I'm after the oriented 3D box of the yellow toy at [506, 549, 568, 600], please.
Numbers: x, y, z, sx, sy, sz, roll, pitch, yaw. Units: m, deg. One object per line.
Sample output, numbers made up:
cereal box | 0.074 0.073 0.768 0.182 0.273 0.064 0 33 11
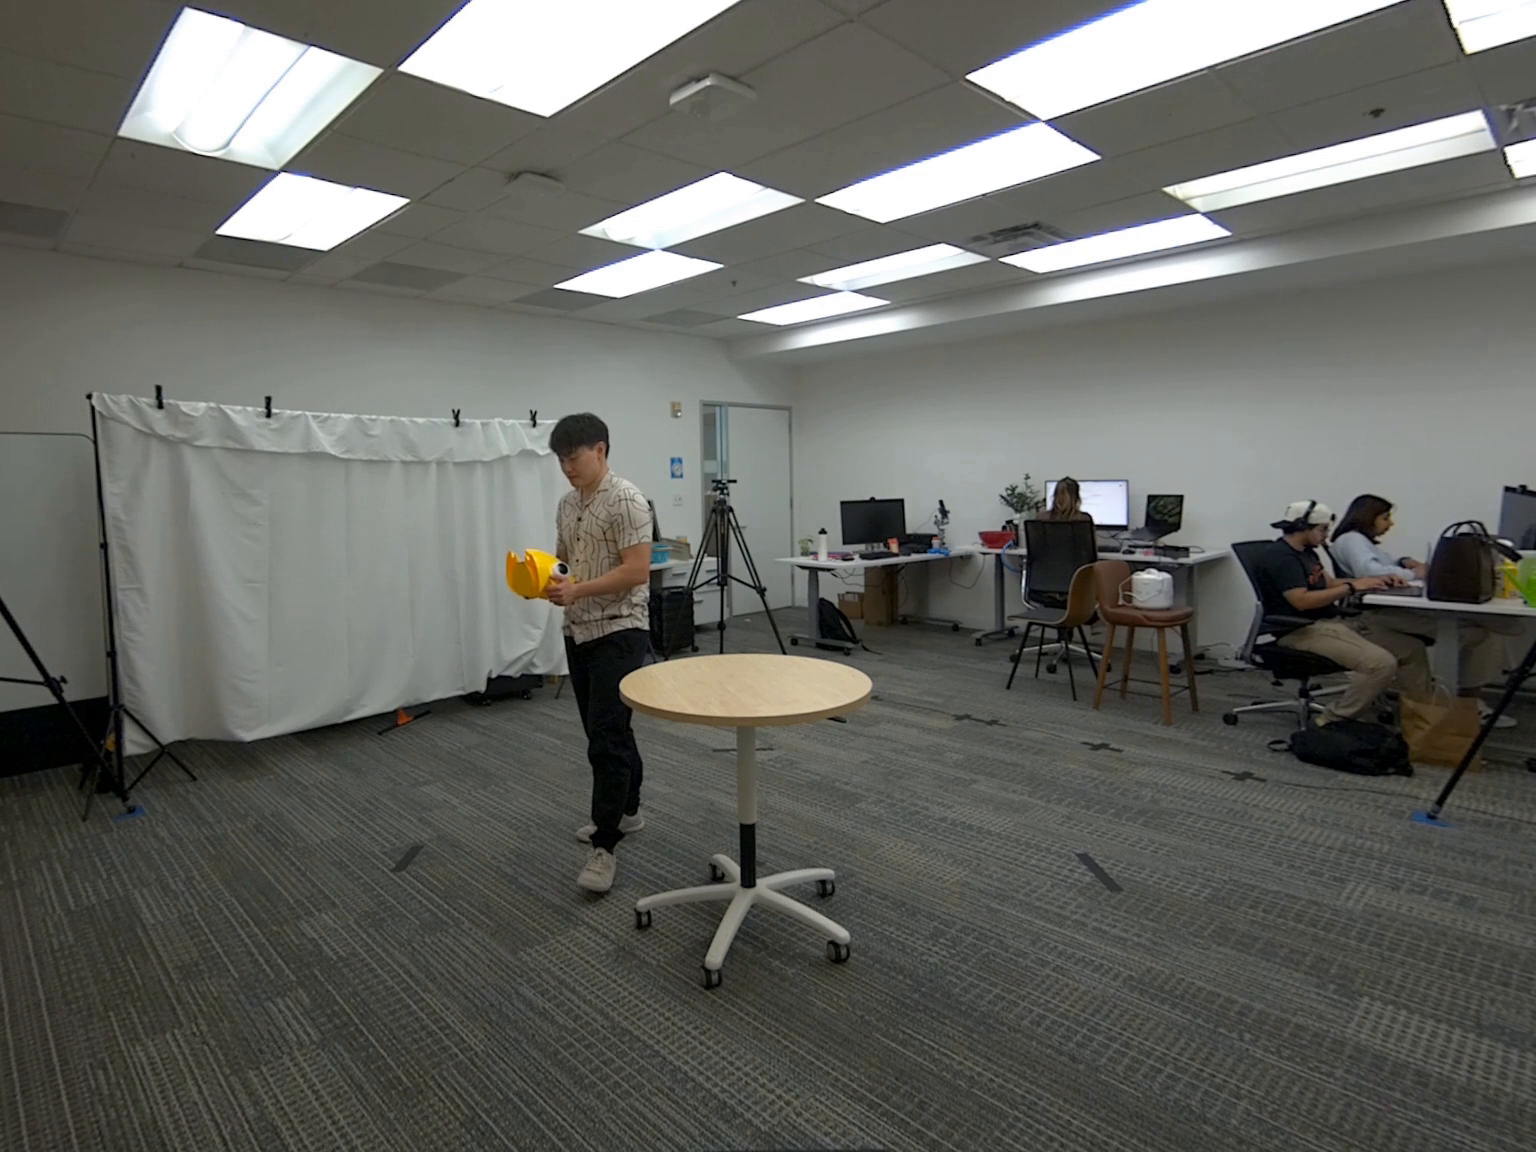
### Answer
yellow toy | -0.794 -0.017 3.099 0.211 0.191 0.226 8 15 42
